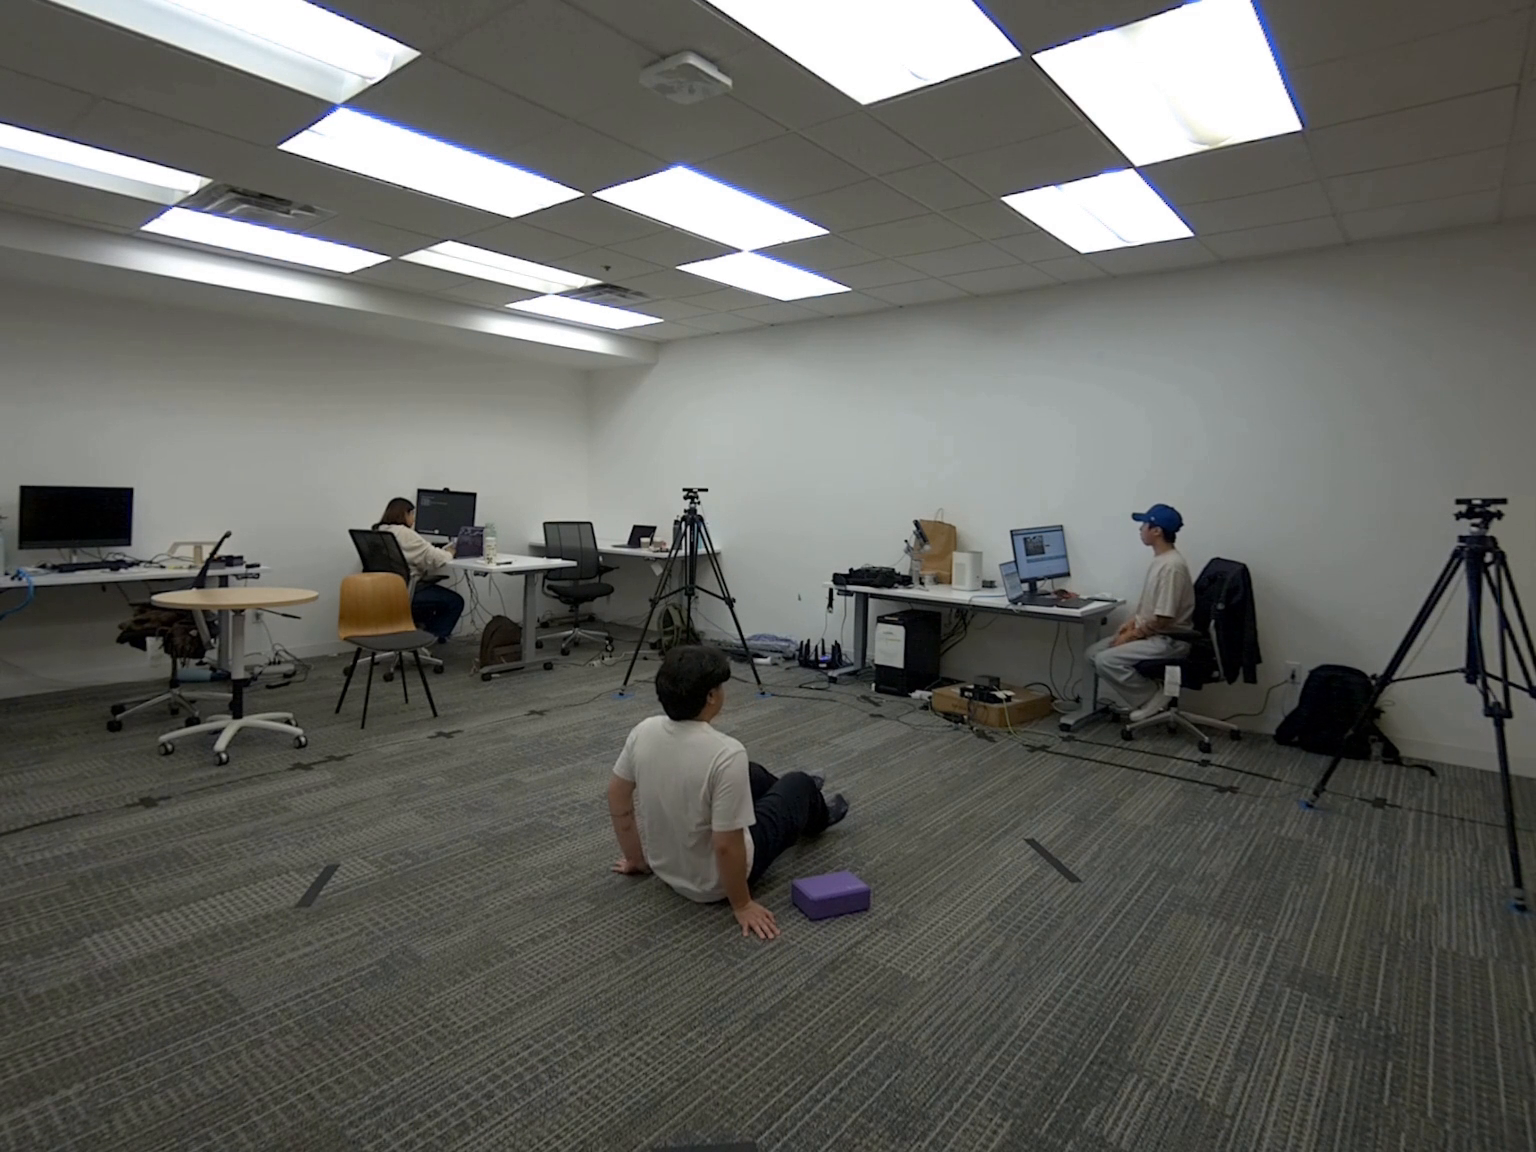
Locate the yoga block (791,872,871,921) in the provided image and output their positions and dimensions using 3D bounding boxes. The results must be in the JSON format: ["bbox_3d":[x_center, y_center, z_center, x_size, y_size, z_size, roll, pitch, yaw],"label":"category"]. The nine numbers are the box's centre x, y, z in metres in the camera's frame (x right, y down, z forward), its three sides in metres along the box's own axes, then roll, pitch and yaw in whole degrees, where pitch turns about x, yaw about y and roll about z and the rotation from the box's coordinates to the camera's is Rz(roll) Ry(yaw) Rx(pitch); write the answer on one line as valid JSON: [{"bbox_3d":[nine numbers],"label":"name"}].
[{"bbox_3d":[0.202,1.068,2.848,0.224,0.076,0.153,-1,5,-25],"label":"yoga block"}]
